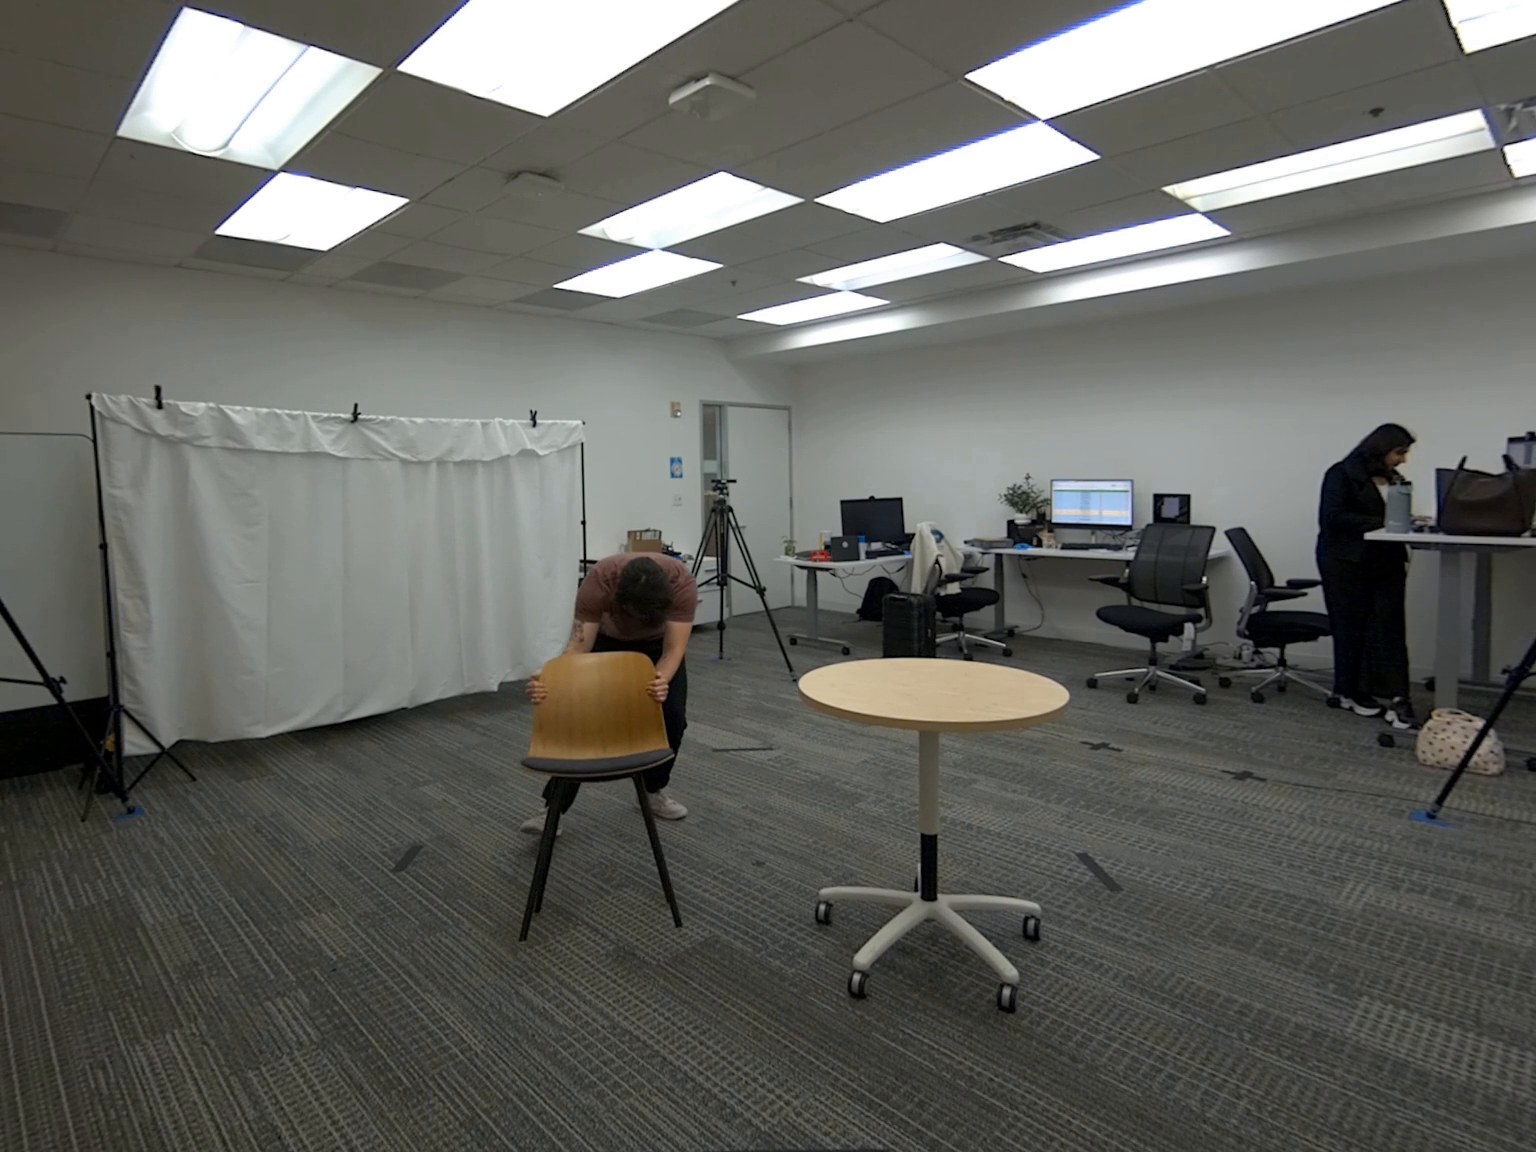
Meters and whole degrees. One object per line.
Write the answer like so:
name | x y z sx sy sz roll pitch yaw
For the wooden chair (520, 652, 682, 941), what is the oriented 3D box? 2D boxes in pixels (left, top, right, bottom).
wooden chair | -0.528 0.633 2.682 0.474 0.892 0.519 -1 -17 -9
